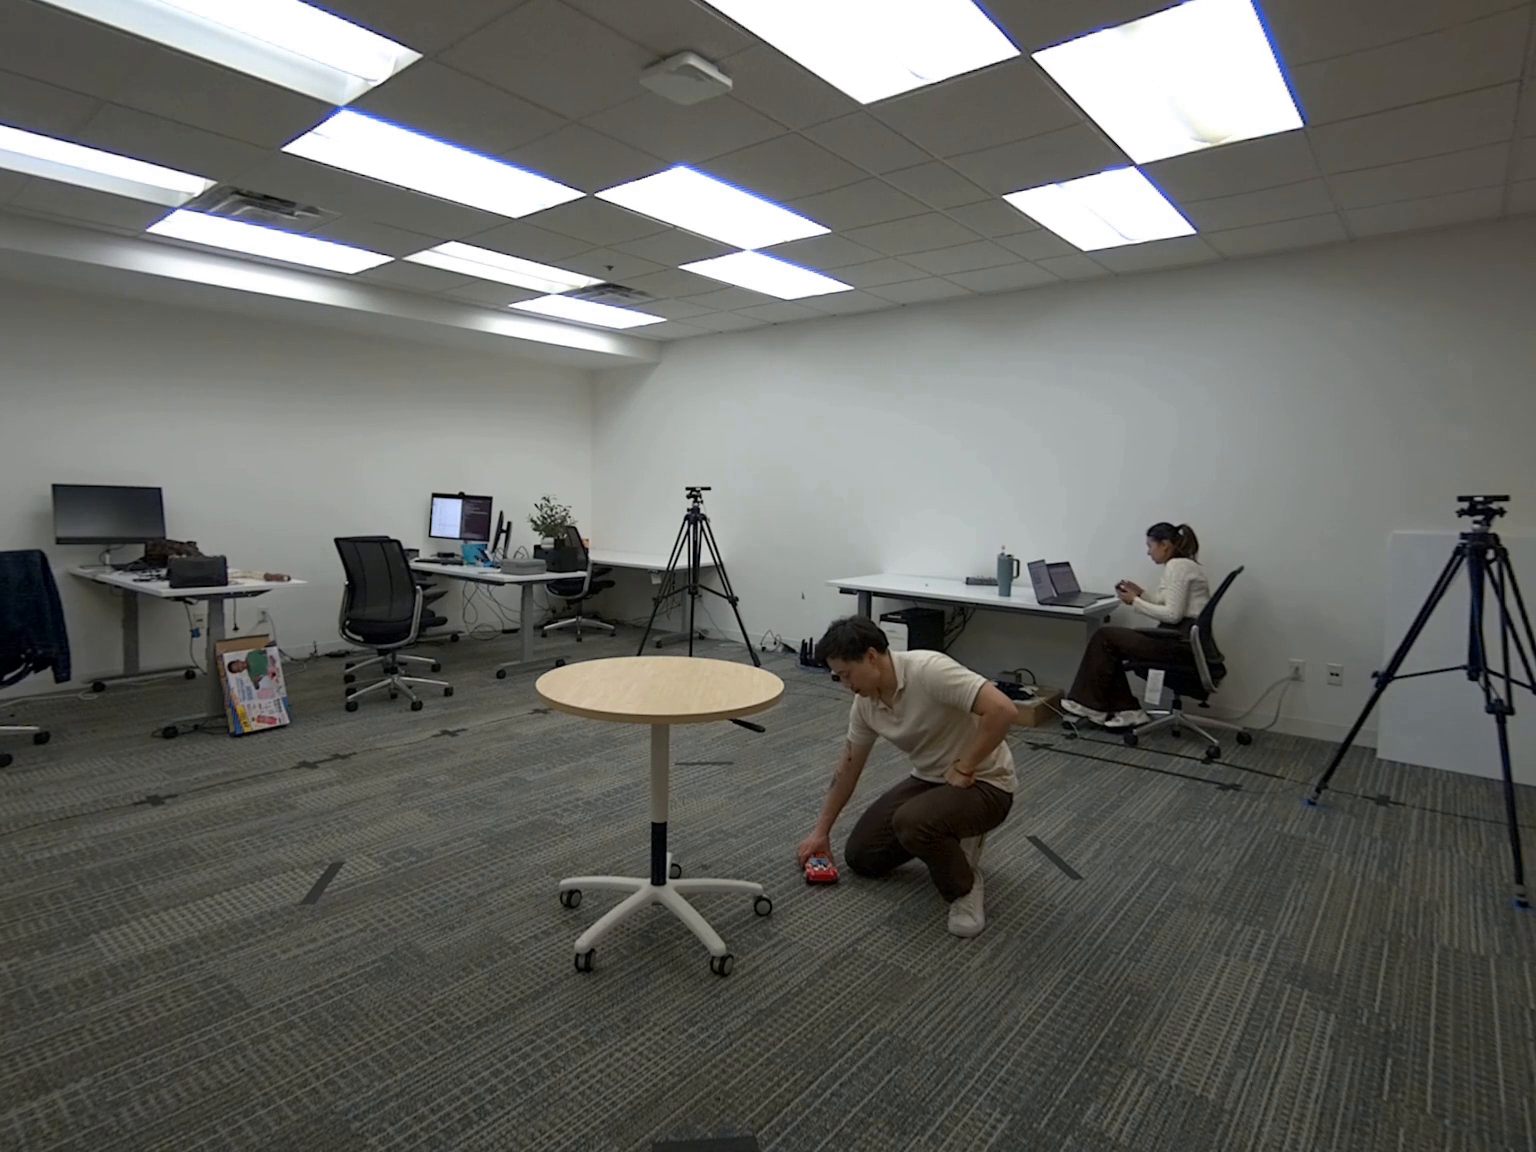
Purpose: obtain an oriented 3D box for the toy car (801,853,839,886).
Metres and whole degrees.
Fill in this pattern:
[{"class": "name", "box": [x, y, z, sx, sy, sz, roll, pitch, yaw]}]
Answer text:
[{"class": "toy car", "box": [0.178, 1.046, 3.107, 0.130, 0.082, 0.259, -1, 14, -5]}]
